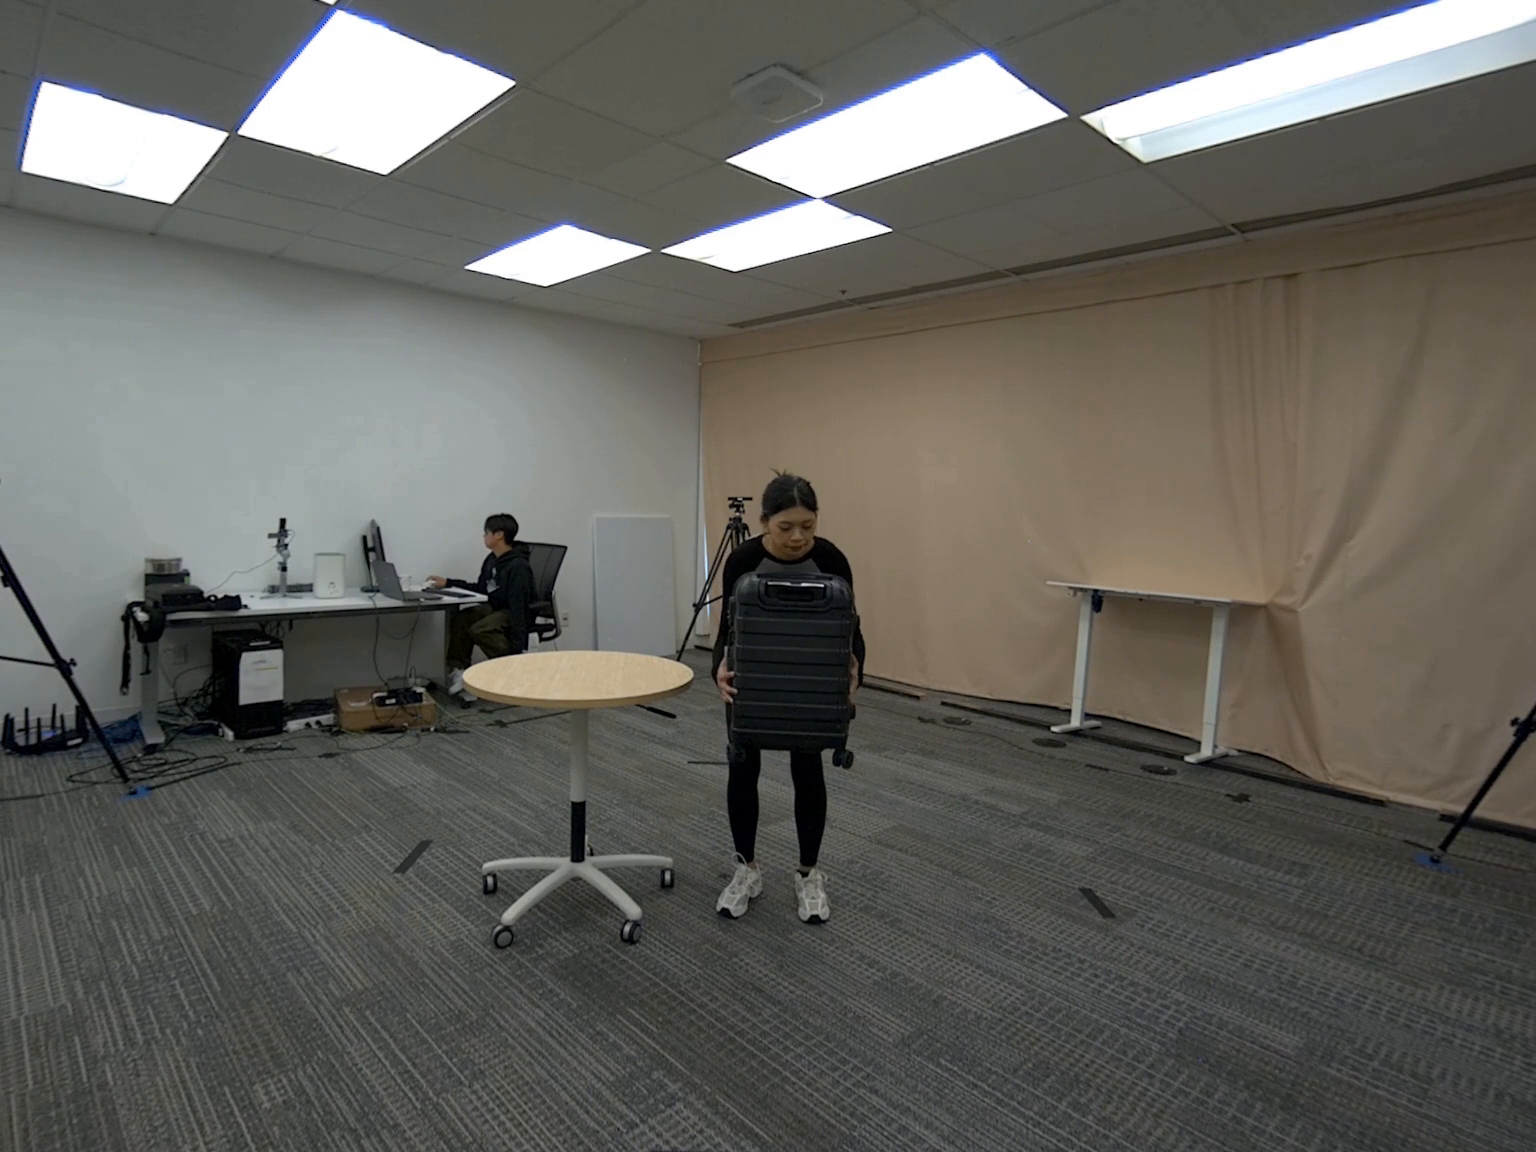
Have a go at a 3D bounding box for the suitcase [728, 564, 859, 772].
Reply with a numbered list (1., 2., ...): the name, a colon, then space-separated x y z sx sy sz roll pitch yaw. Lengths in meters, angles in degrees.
1. suitcase: 0.057 0.259 2.481 0.376 0.547 0.249 1 6 1
